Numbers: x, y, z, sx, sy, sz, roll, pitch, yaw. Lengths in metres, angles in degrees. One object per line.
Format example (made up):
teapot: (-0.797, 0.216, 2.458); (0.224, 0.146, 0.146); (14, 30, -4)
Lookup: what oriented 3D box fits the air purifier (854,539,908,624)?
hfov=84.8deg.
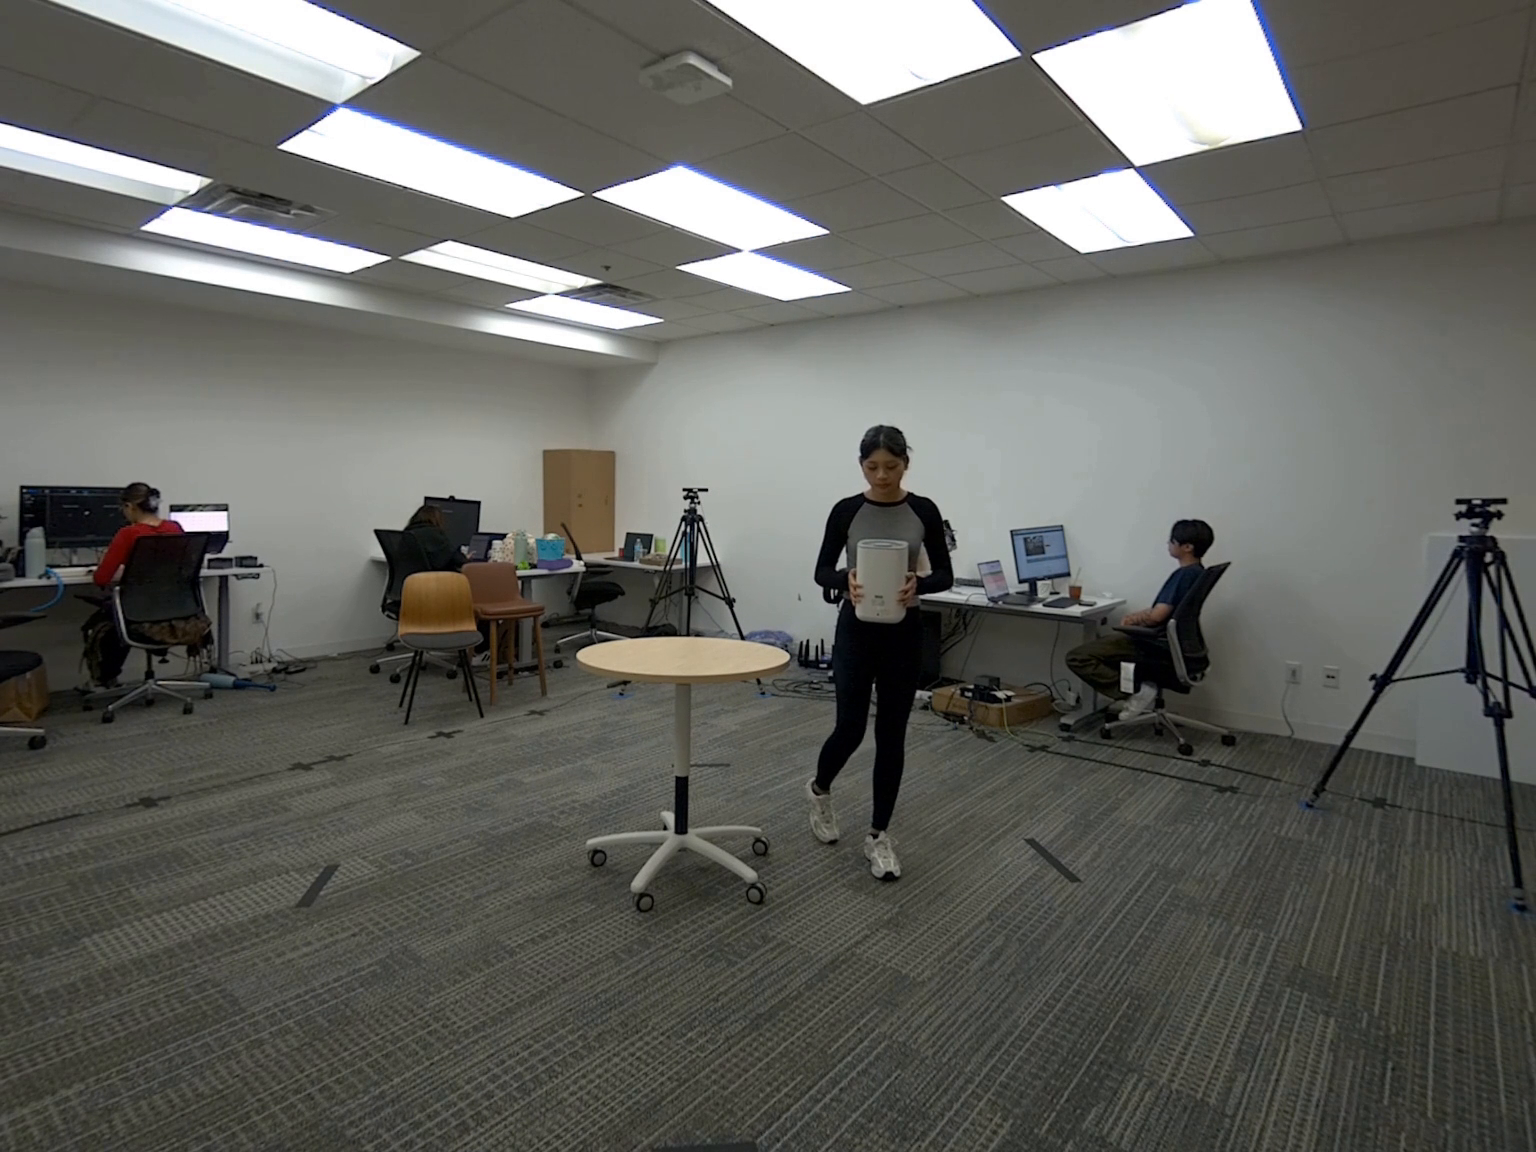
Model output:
air purifier: (0.392, 0.011, 2.962); (0.174, 0.263, 0.170); (1, 9, 14)
